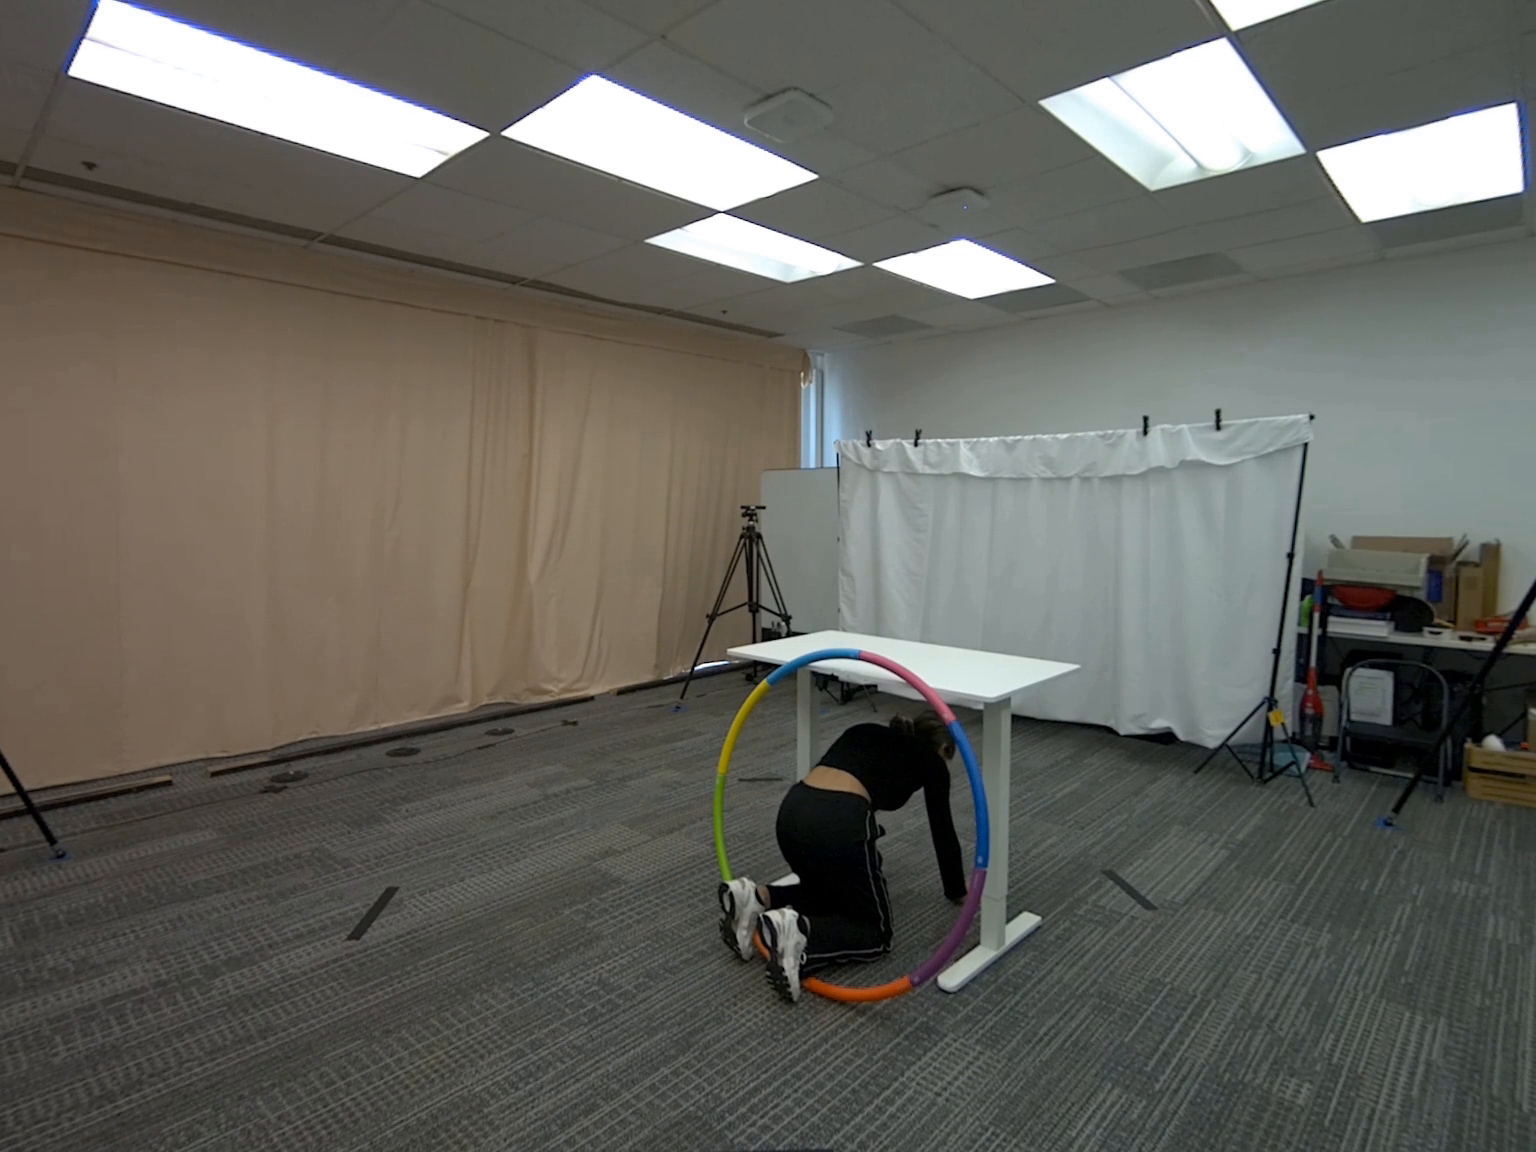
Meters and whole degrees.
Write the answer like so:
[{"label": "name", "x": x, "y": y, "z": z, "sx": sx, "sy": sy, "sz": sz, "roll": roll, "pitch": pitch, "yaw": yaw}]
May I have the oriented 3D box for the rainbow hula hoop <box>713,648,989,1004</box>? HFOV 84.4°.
[{"label": "rainbow hula hoop", "x": 0.198, "y": 0.715, "z": 2.492, "sx": 1.011, "sy": 0.982, "sz": 0.034, "roll": 4, "pitch": -10, "yaw": 43}]
